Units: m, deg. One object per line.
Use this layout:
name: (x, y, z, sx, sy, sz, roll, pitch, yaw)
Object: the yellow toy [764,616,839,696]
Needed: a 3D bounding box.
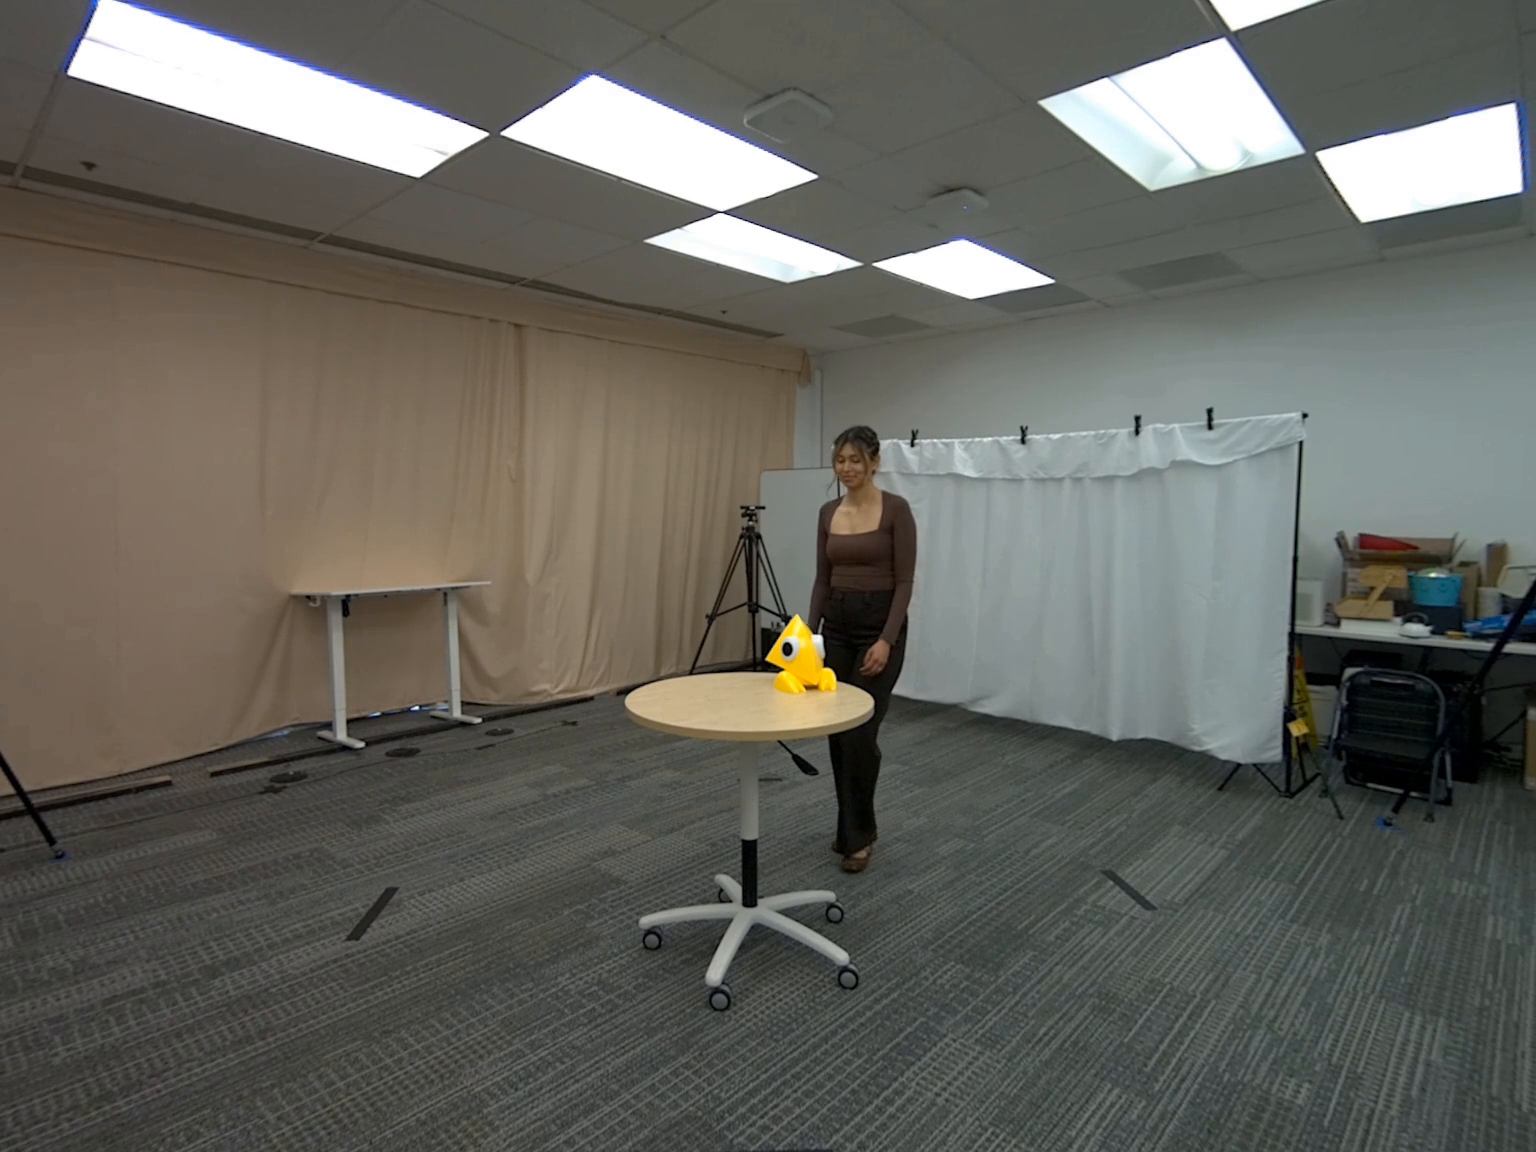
yellow toy: (0.118, 0.250, 2.759, 0.201, 0.230, 0.197, -1, 4, -19)
